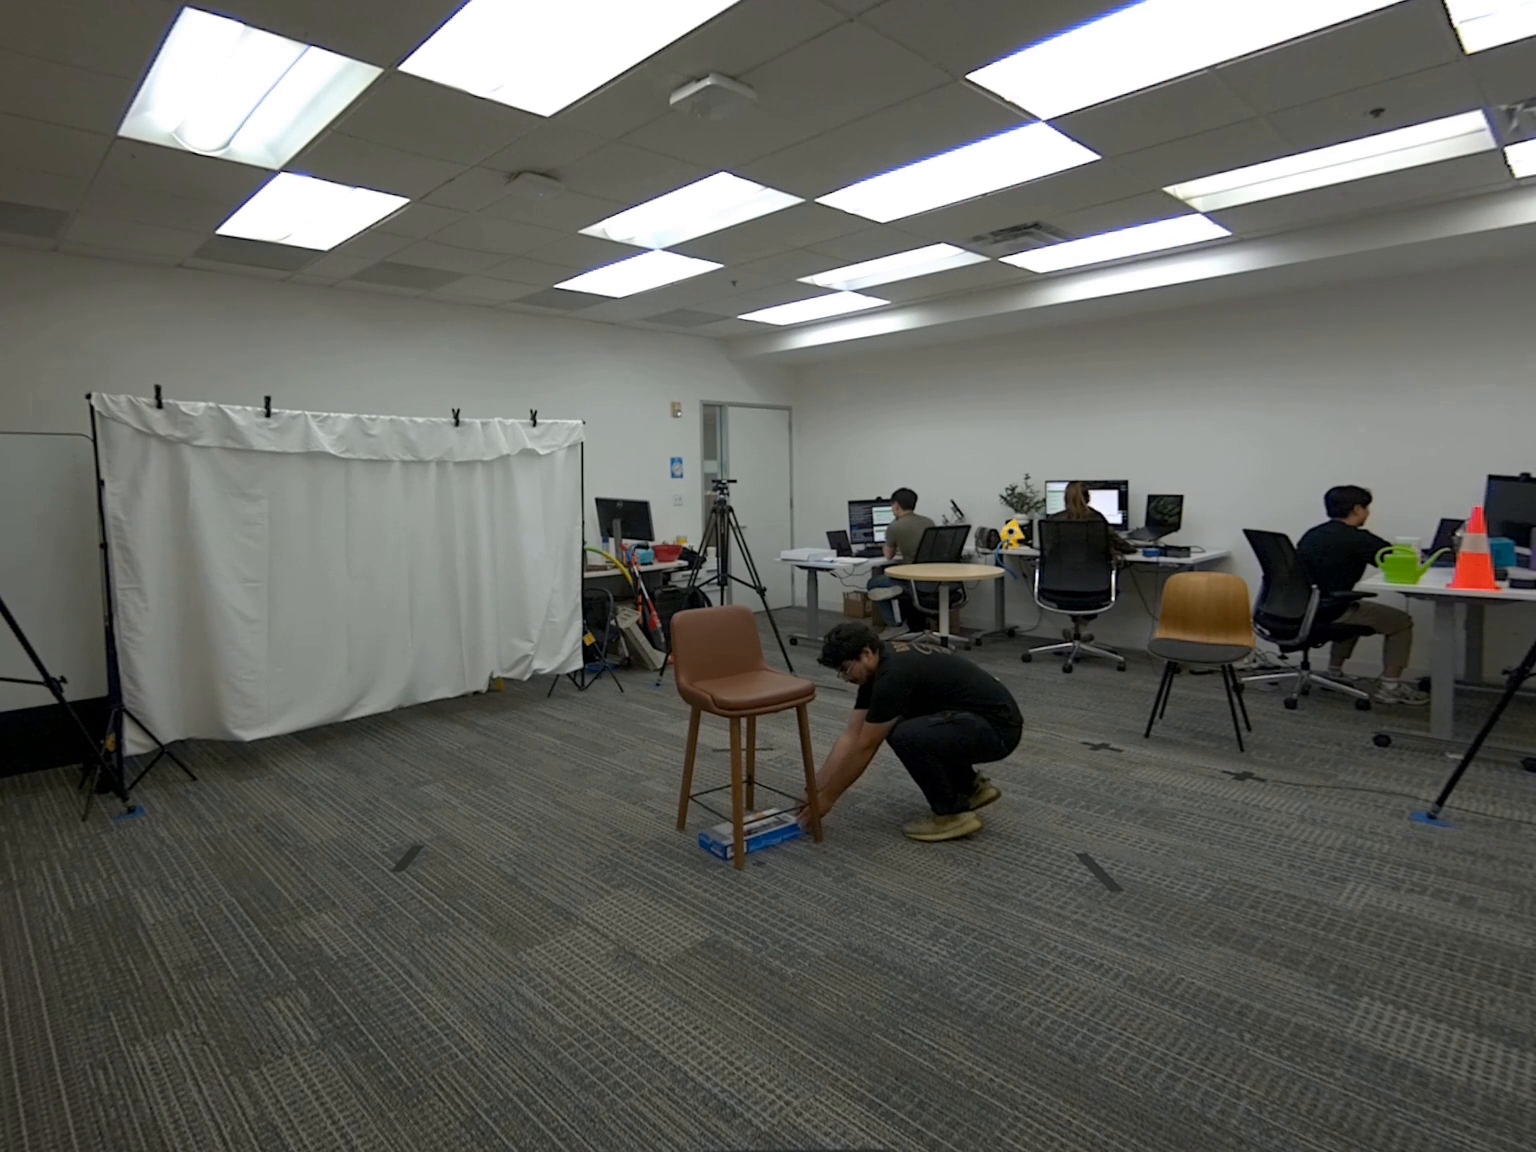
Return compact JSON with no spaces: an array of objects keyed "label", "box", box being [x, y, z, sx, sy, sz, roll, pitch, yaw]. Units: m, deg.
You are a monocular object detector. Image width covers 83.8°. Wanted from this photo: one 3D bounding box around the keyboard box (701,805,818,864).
[{"label":"keyboard box","box":[-0.031,0.996,3.329,0.426,0.059,0.181,-6,7,-37]}]
